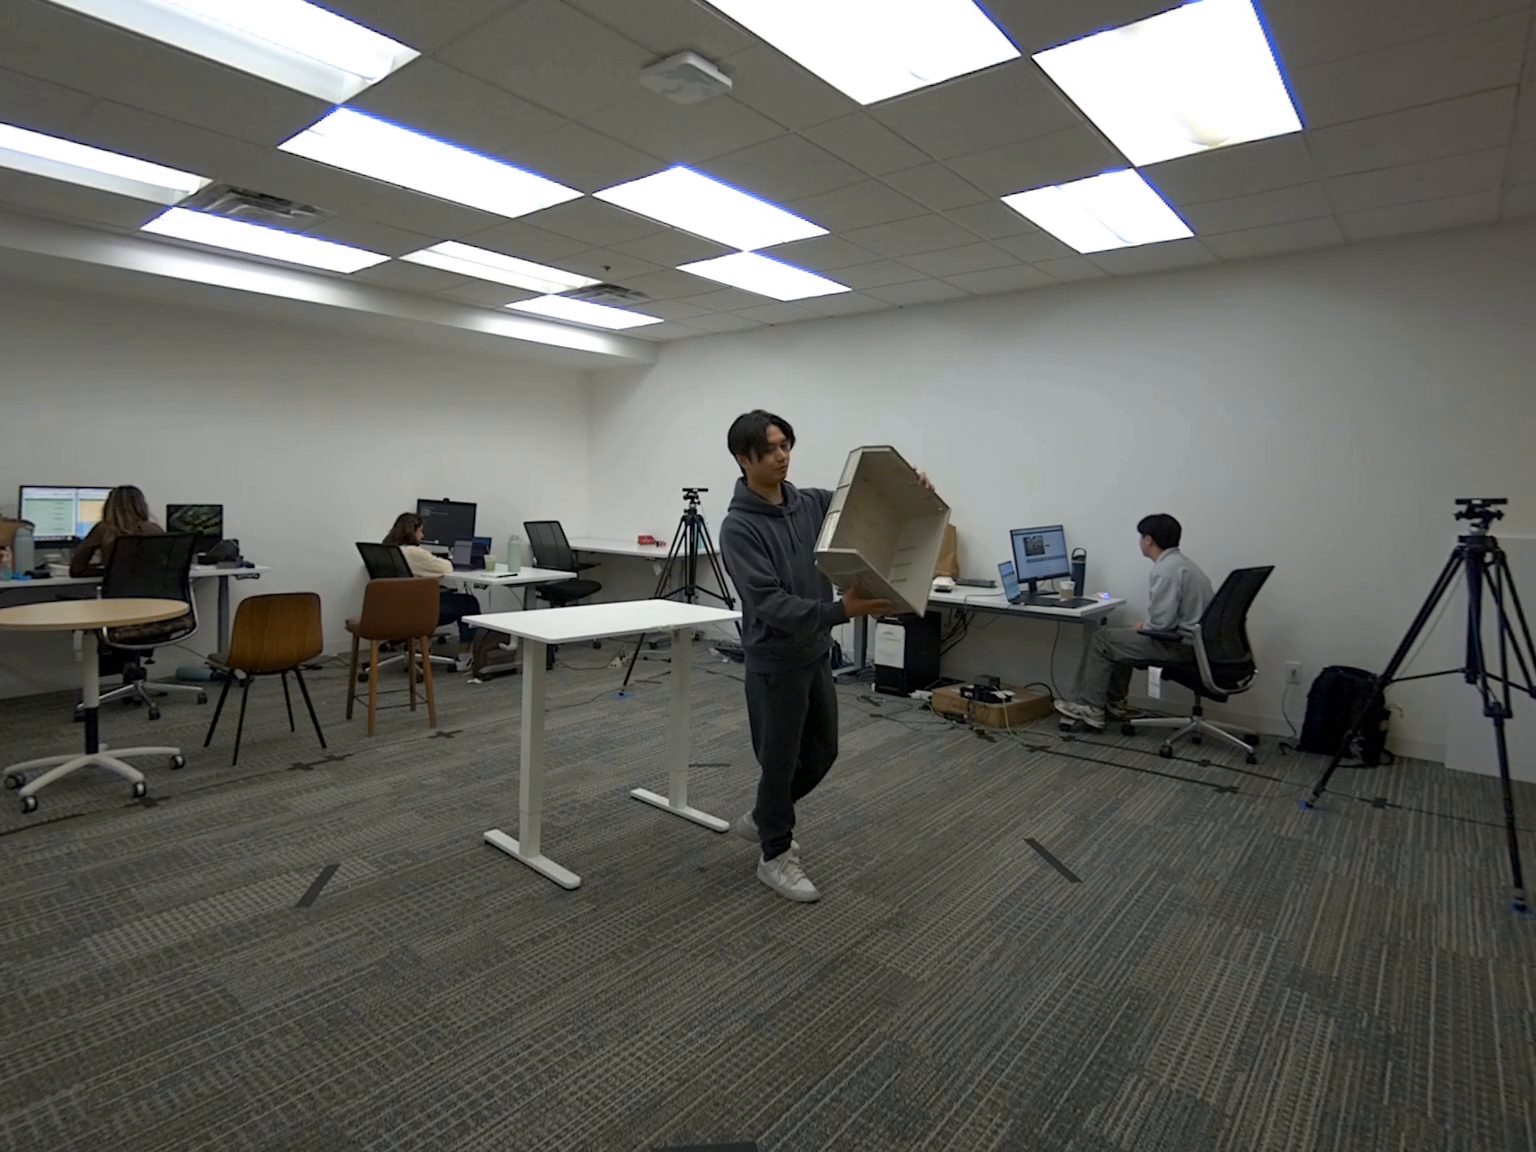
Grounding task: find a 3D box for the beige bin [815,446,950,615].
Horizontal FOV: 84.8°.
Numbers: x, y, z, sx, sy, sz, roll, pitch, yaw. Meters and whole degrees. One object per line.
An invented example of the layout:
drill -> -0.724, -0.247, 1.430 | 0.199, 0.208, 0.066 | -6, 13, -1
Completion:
beige bin -> 0.350, -0.137, 2.681 | 0.194, 0.428, 0.363 | -12, -44, 44
